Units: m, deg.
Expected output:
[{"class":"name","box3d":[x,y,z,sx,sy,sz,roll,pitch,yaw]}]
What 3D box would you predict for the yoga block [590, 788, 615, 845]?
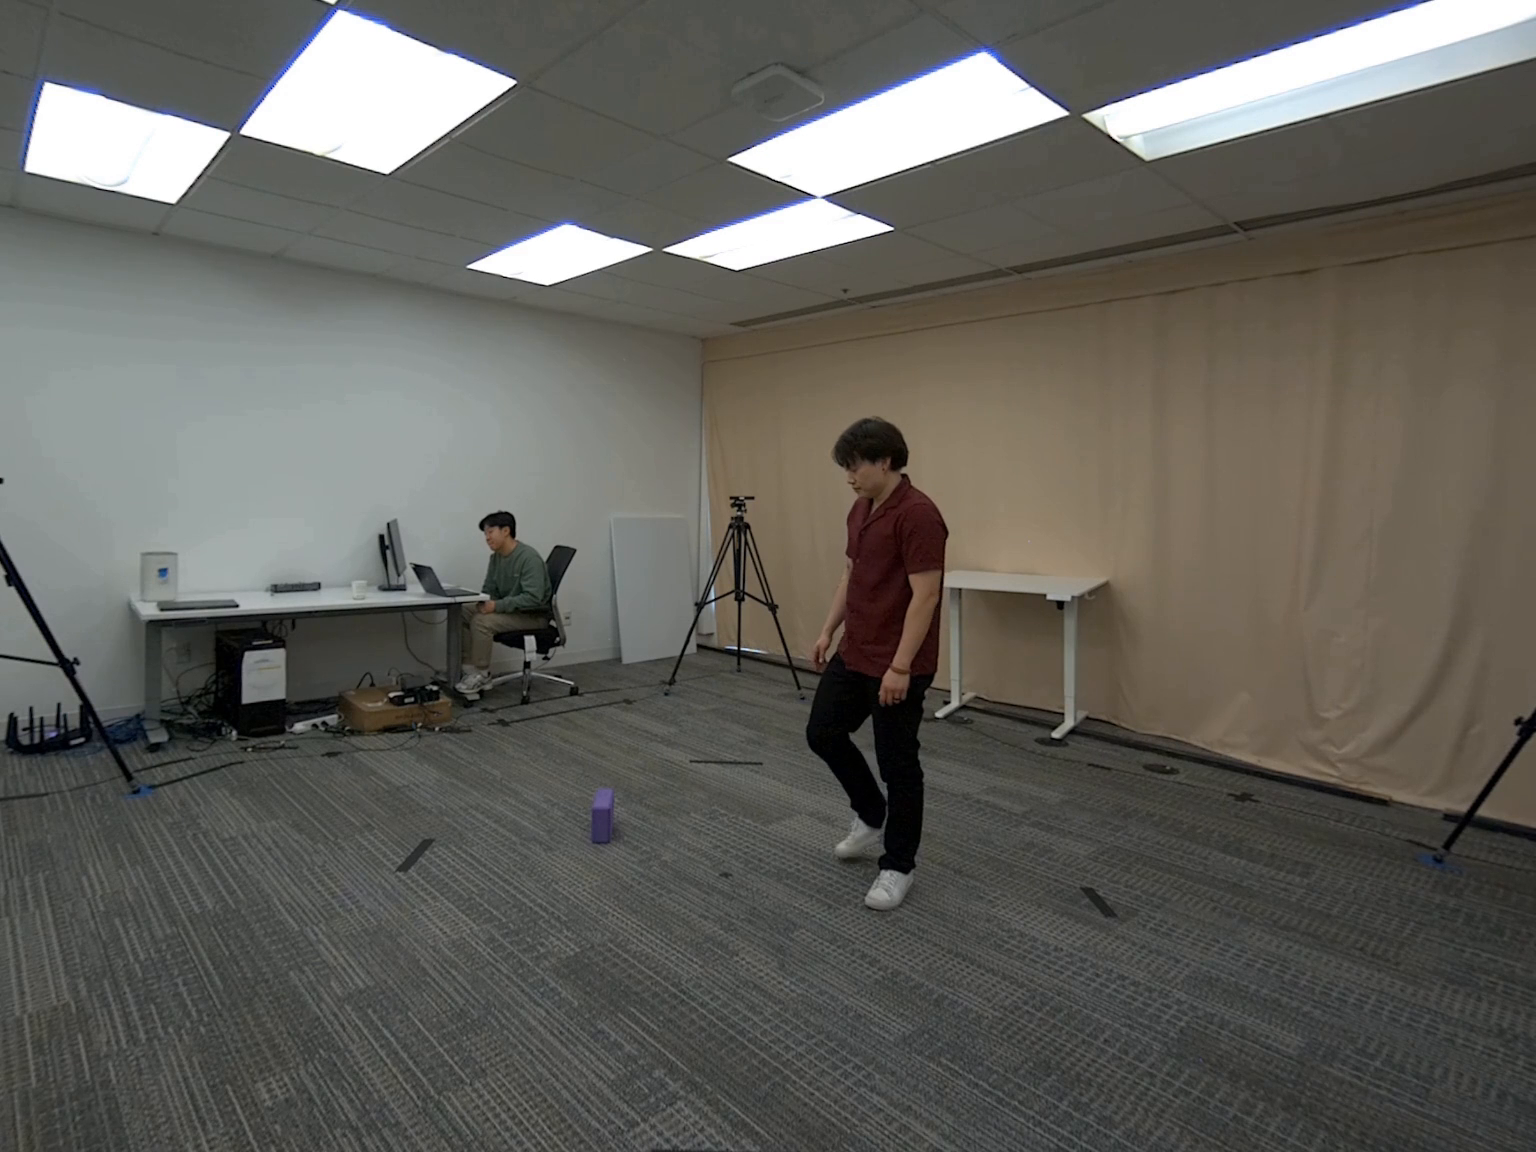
[{"class":"yoga block","box3d":[-0.687,0.979,3.470,0.076,0.148,0.231,0,5,-6]}]
